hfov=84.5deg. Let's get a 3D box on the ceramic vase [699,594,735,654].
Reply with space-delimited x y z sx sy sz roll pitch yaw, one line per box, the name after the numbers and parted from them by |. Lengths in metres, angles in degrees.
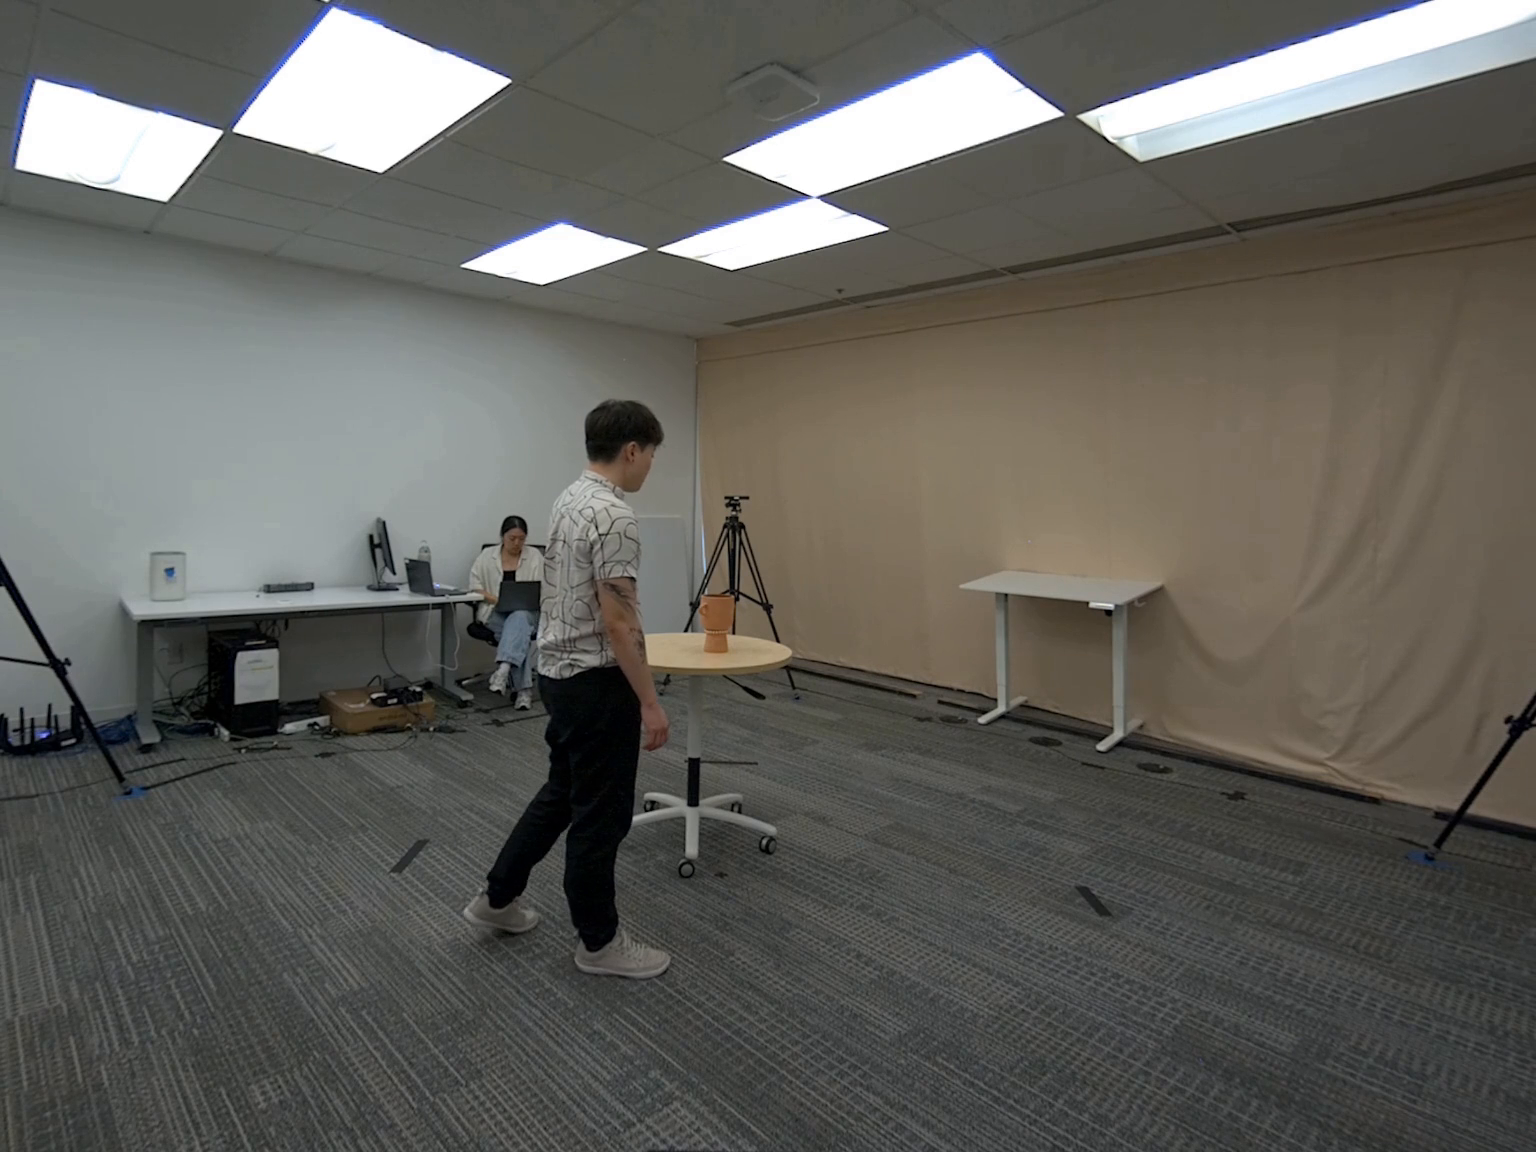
-0.213 0.192 3.343 0.157 0.219 0.136 1 4 -11 | ceramic vase
